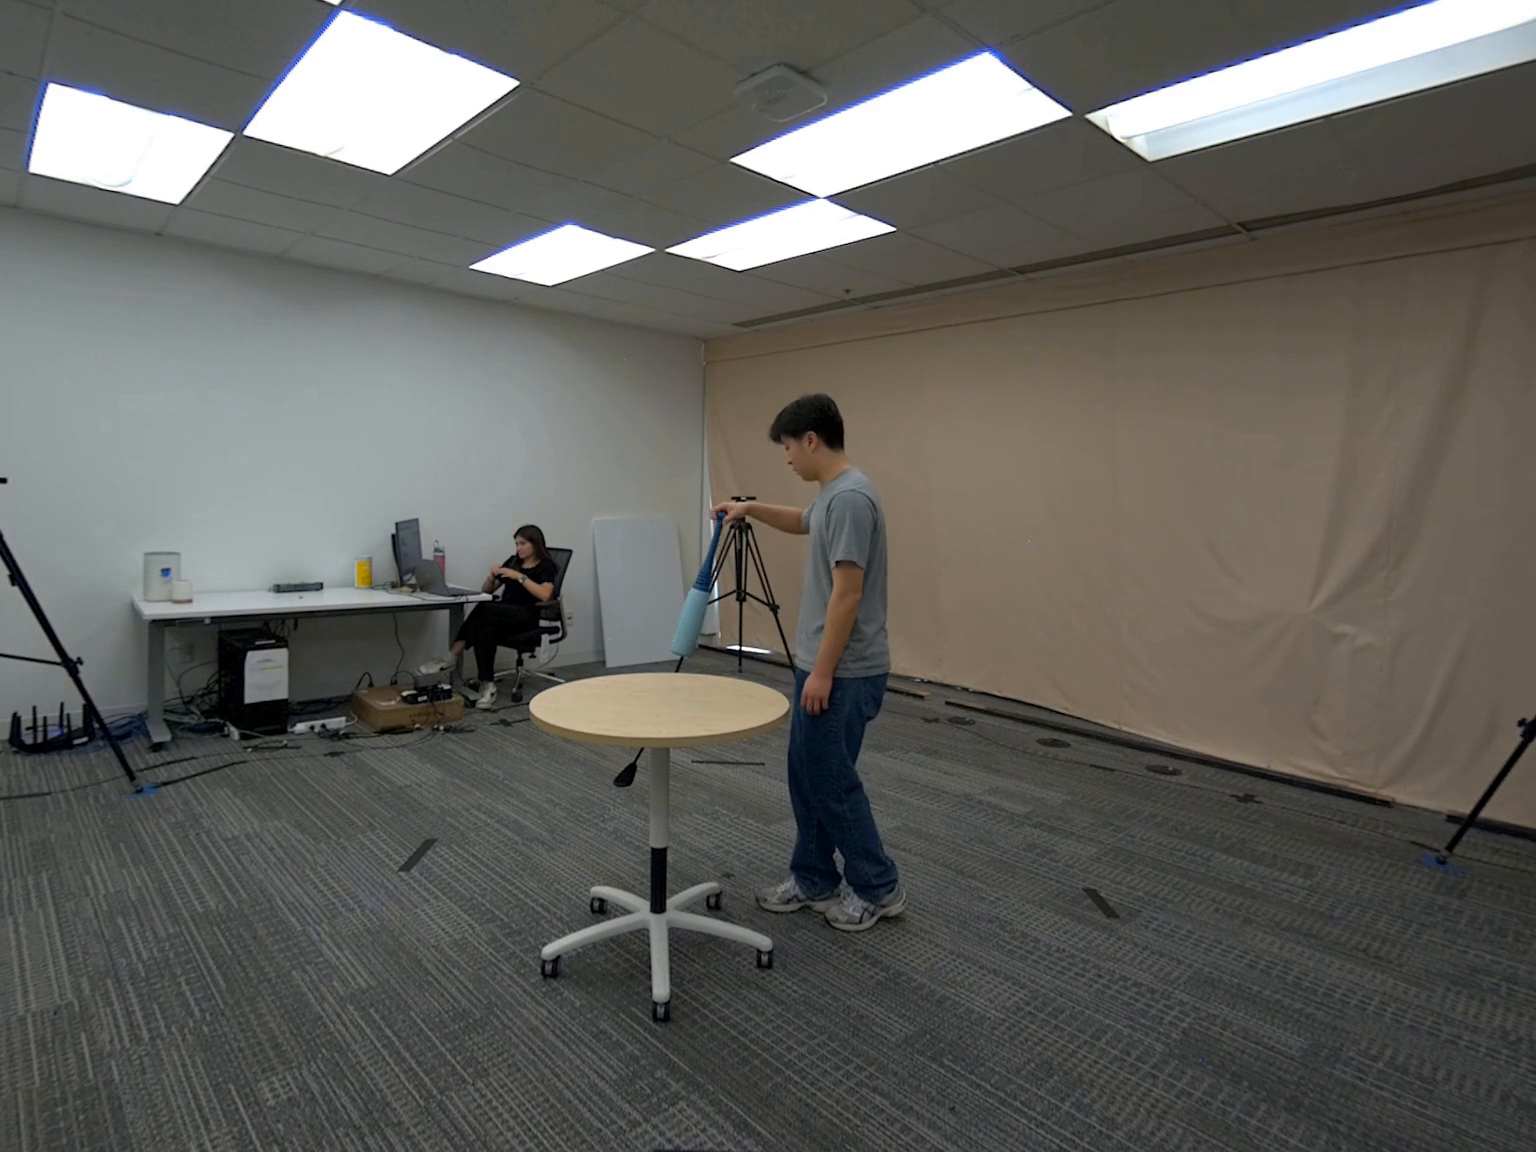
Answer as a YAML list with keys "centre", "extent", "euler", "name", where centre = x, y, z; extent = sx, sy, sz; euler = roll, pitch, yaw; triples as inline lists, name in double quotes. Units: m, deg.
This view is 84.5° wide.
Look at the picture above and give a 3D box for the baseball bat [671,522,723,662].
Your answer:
- centre: [-0.227, 0.033, 3.057]
  extent: [0.089, 0.542, 0.089]
  euler: [17, 1, -2]
  name: "baseball bat"
